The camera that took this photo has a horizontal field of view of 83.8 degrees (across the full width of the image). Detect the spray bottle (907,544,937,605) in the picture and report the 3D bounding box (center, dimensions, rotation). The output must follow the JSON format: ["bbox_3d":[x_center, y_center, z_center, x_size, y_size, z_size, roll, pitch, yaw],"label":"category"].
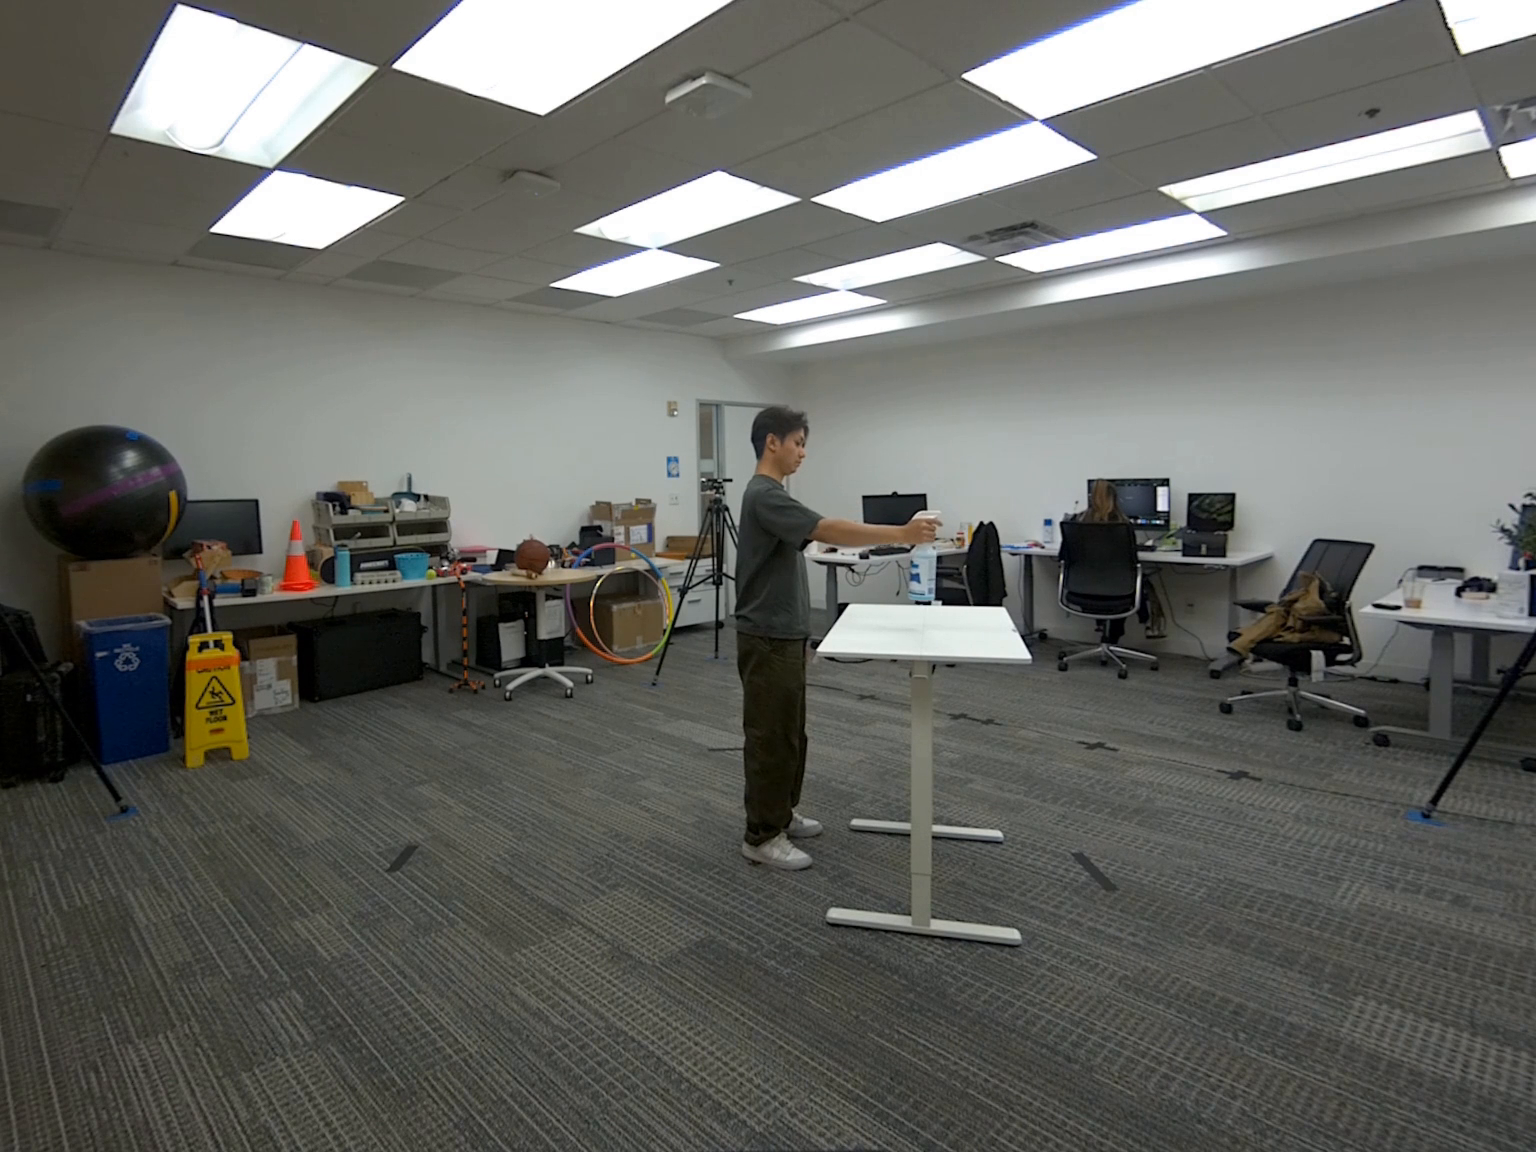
[{"bbox_3d":[0.517,-0.066,2.836,0.092,0.296,0.085,5,7,30],"label":"spray bottle"}]
